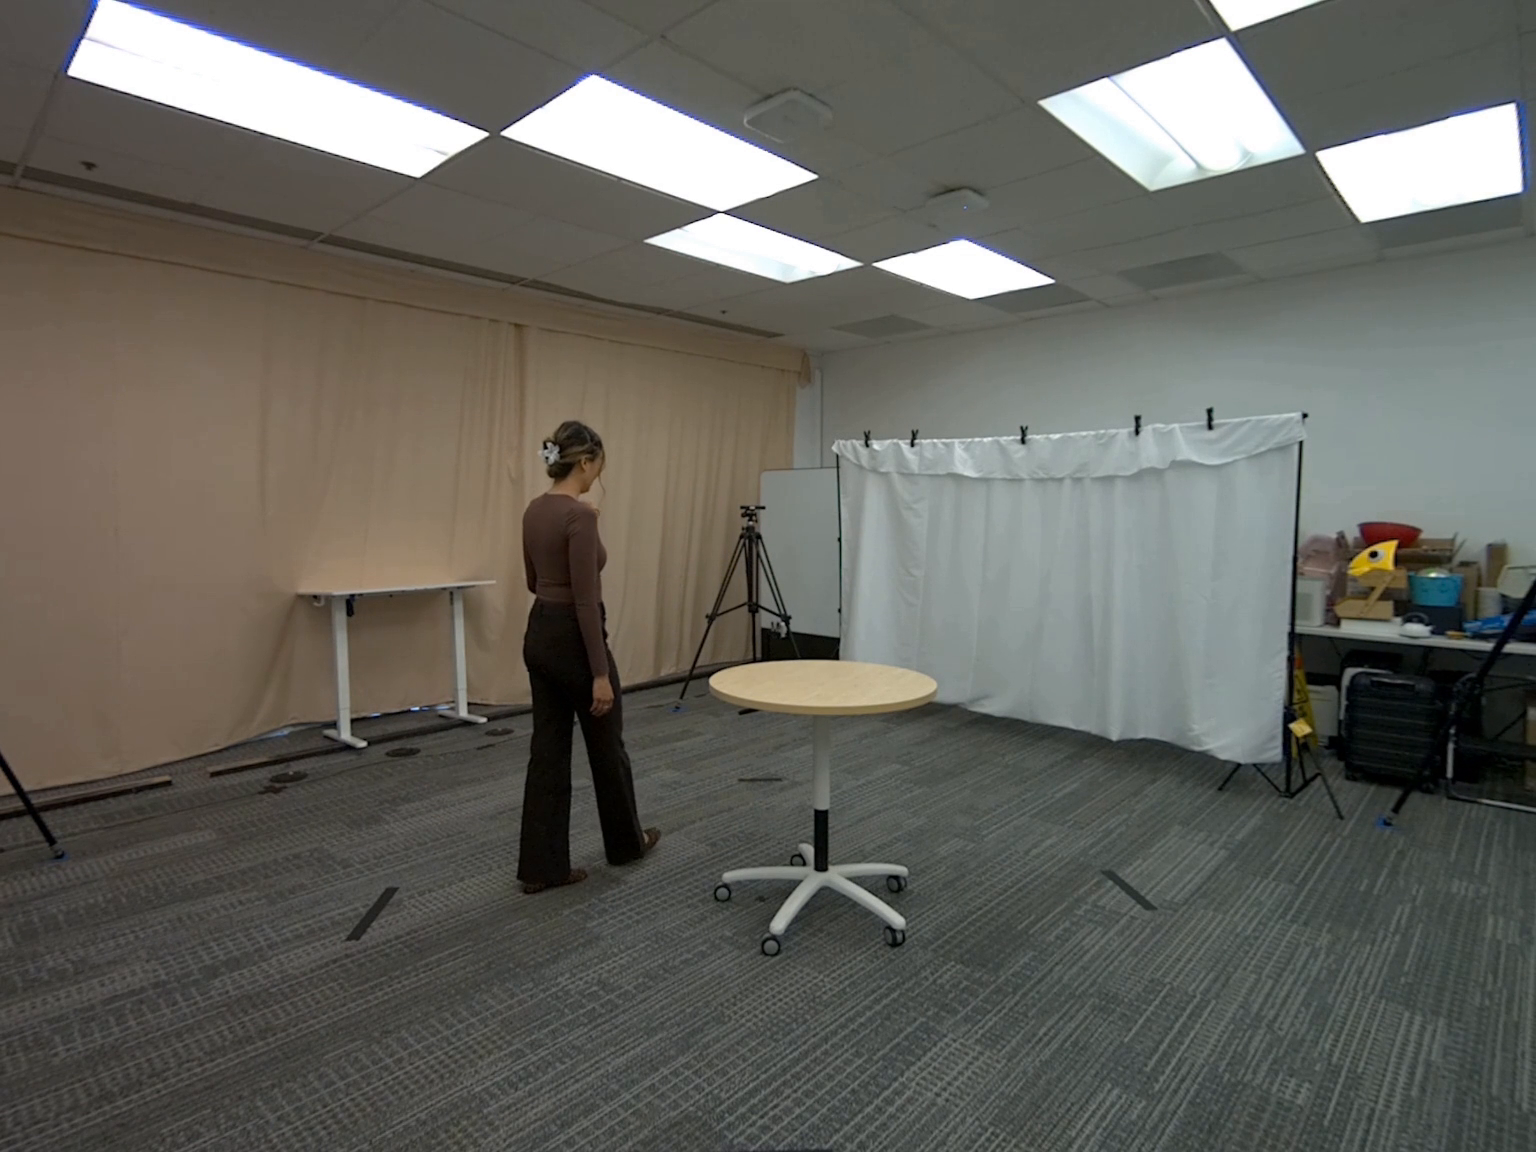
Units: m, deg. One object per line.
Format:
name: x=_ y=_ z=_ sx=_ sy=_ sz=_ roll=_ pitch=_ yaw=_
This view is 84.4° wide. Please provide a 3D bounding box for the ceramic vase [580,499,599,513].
ceramic vase: x=-0.793 y=-0.204 z=3.498 sx=0.160 sy=0.219 sz=0.134 roll=-2 pitch=7 yaw=6
